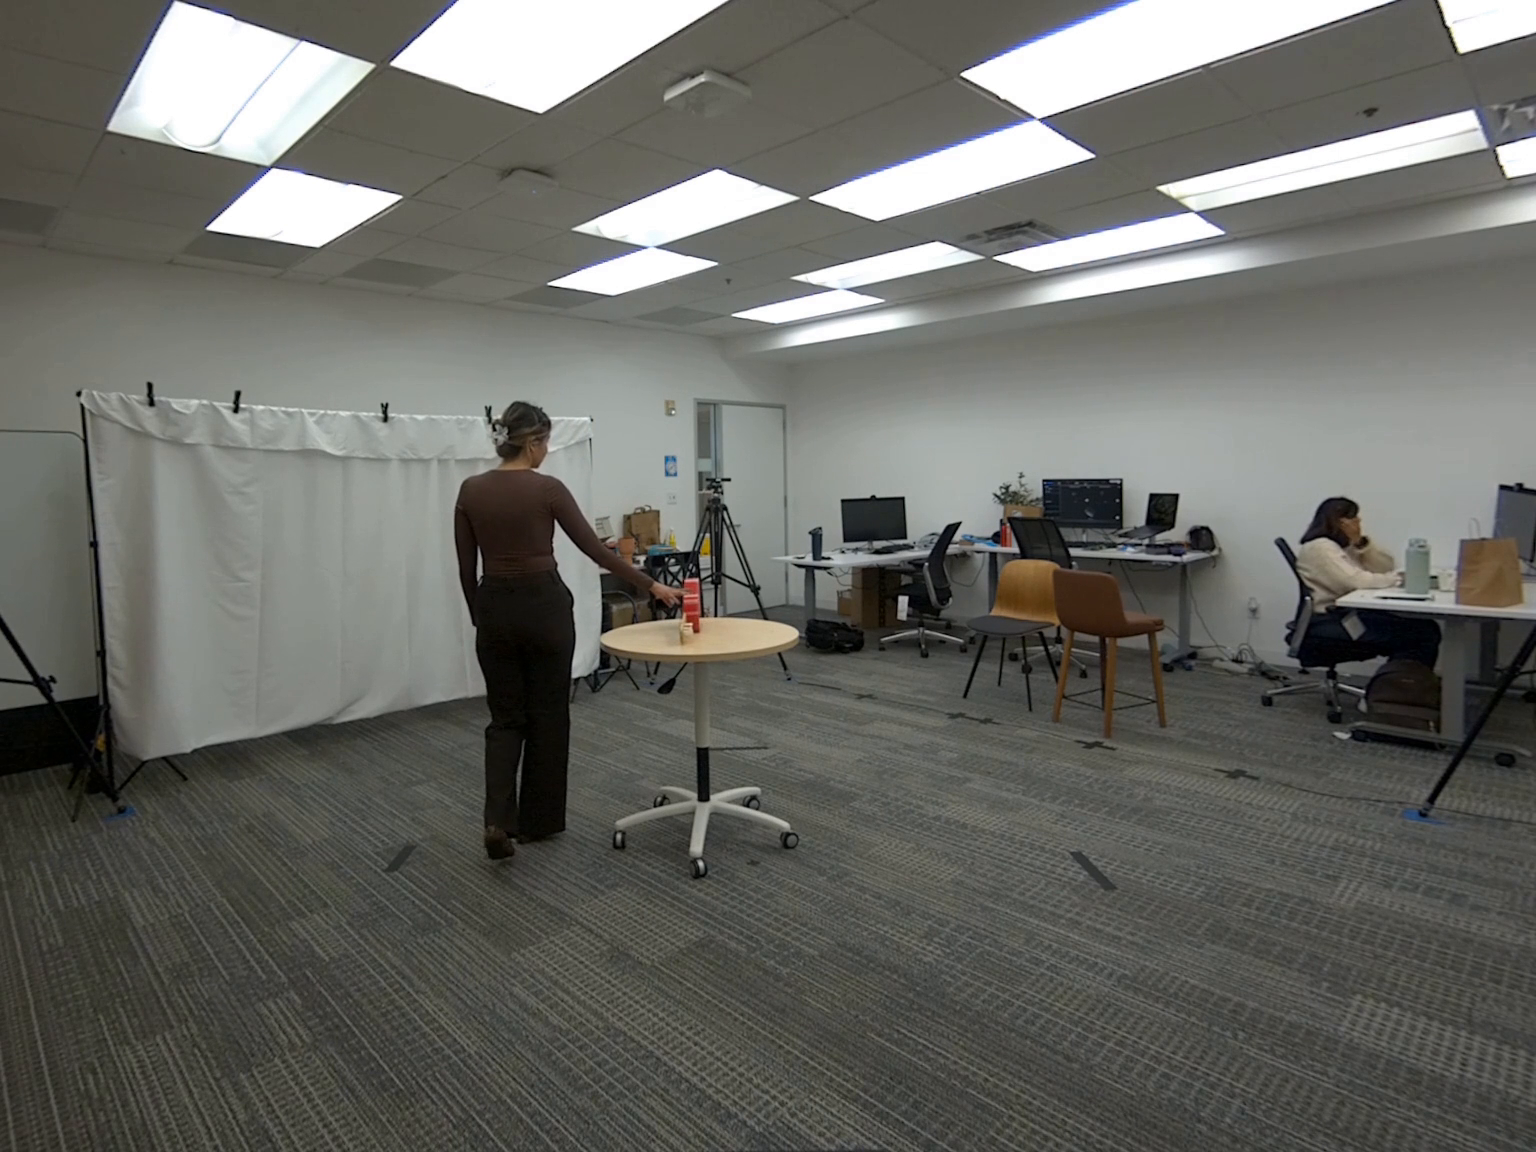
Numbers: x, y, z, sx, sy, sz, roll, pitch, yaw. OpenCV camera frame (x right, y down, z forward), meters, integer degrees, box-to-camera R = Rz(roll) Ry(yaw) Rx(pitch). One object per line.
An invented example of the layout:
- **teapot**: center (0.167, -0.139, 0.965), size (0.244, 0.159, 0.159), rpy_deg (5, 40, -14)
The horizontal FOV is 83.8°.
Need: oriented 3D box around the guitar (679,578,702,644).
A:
- **guitar**: center (-0.299, 0.180, 3.332), size (0.070, 0.189, 0.508), rpy_deg (-4, 22, -2)
